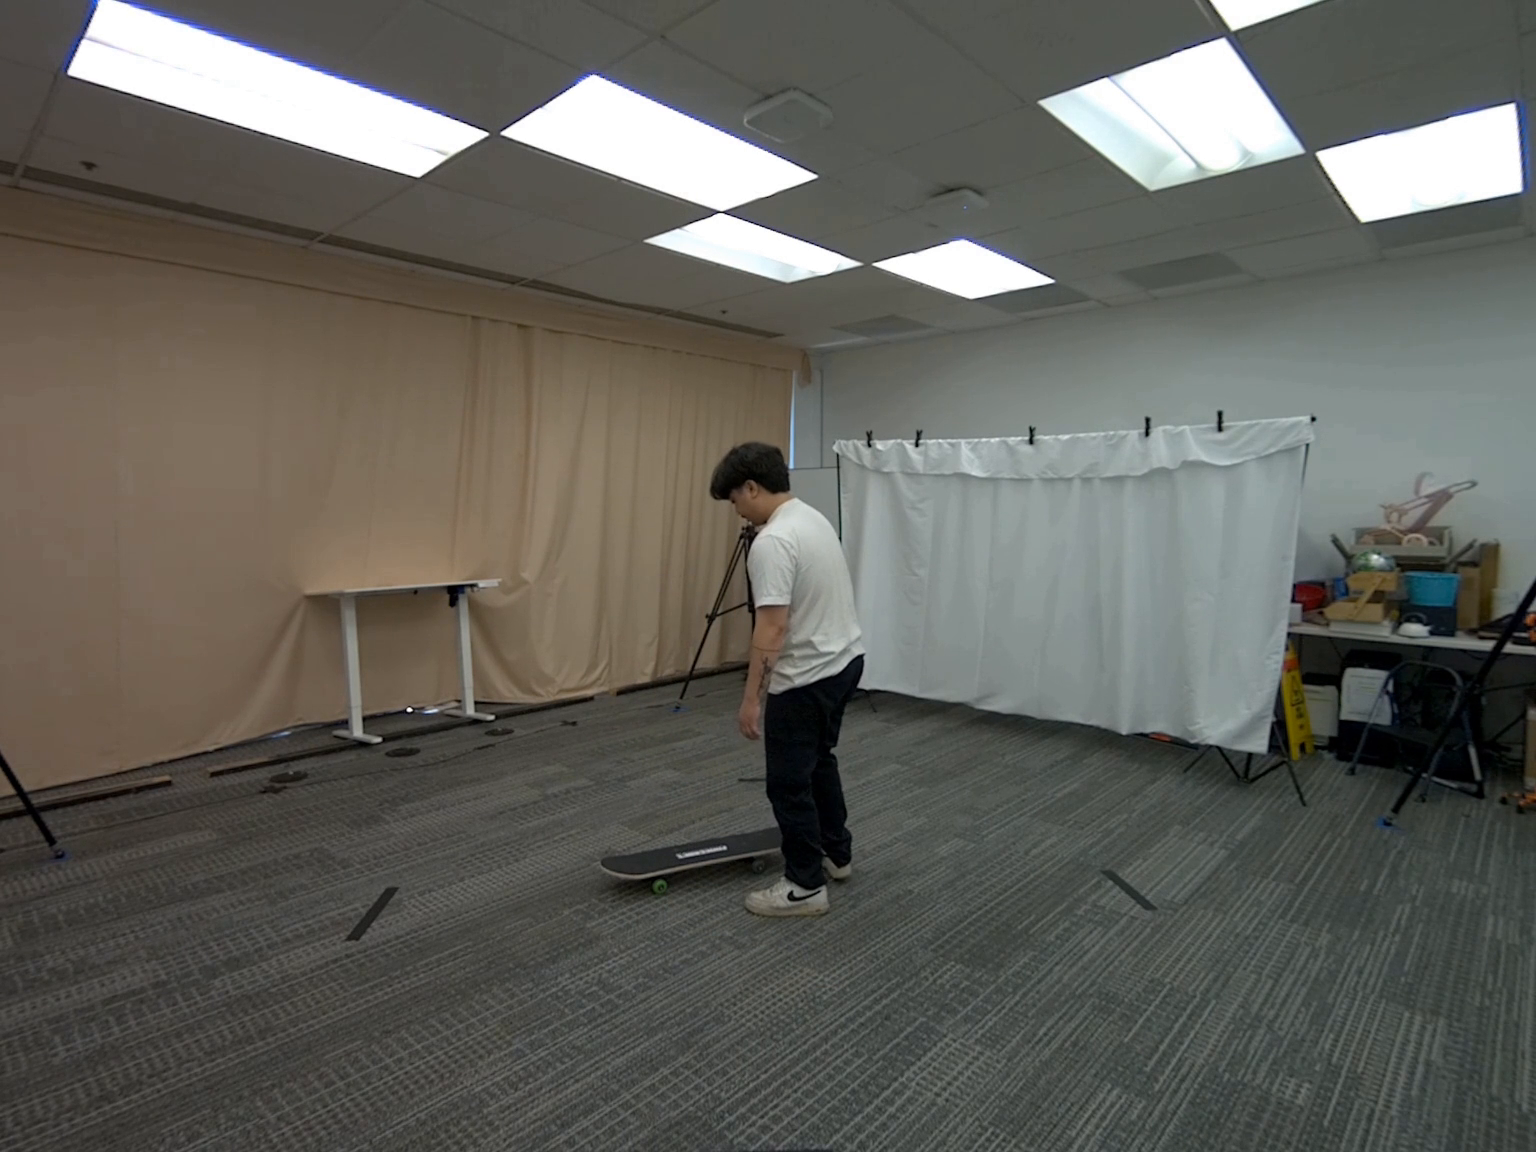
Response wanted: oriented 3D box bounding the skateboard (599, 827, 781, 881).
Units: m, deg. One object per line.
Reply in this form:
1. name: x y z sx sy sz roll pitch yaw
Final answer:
1. skateboard: -0.251 1.075 3.177 0.767 0.110 0.198 -2 4 -24
